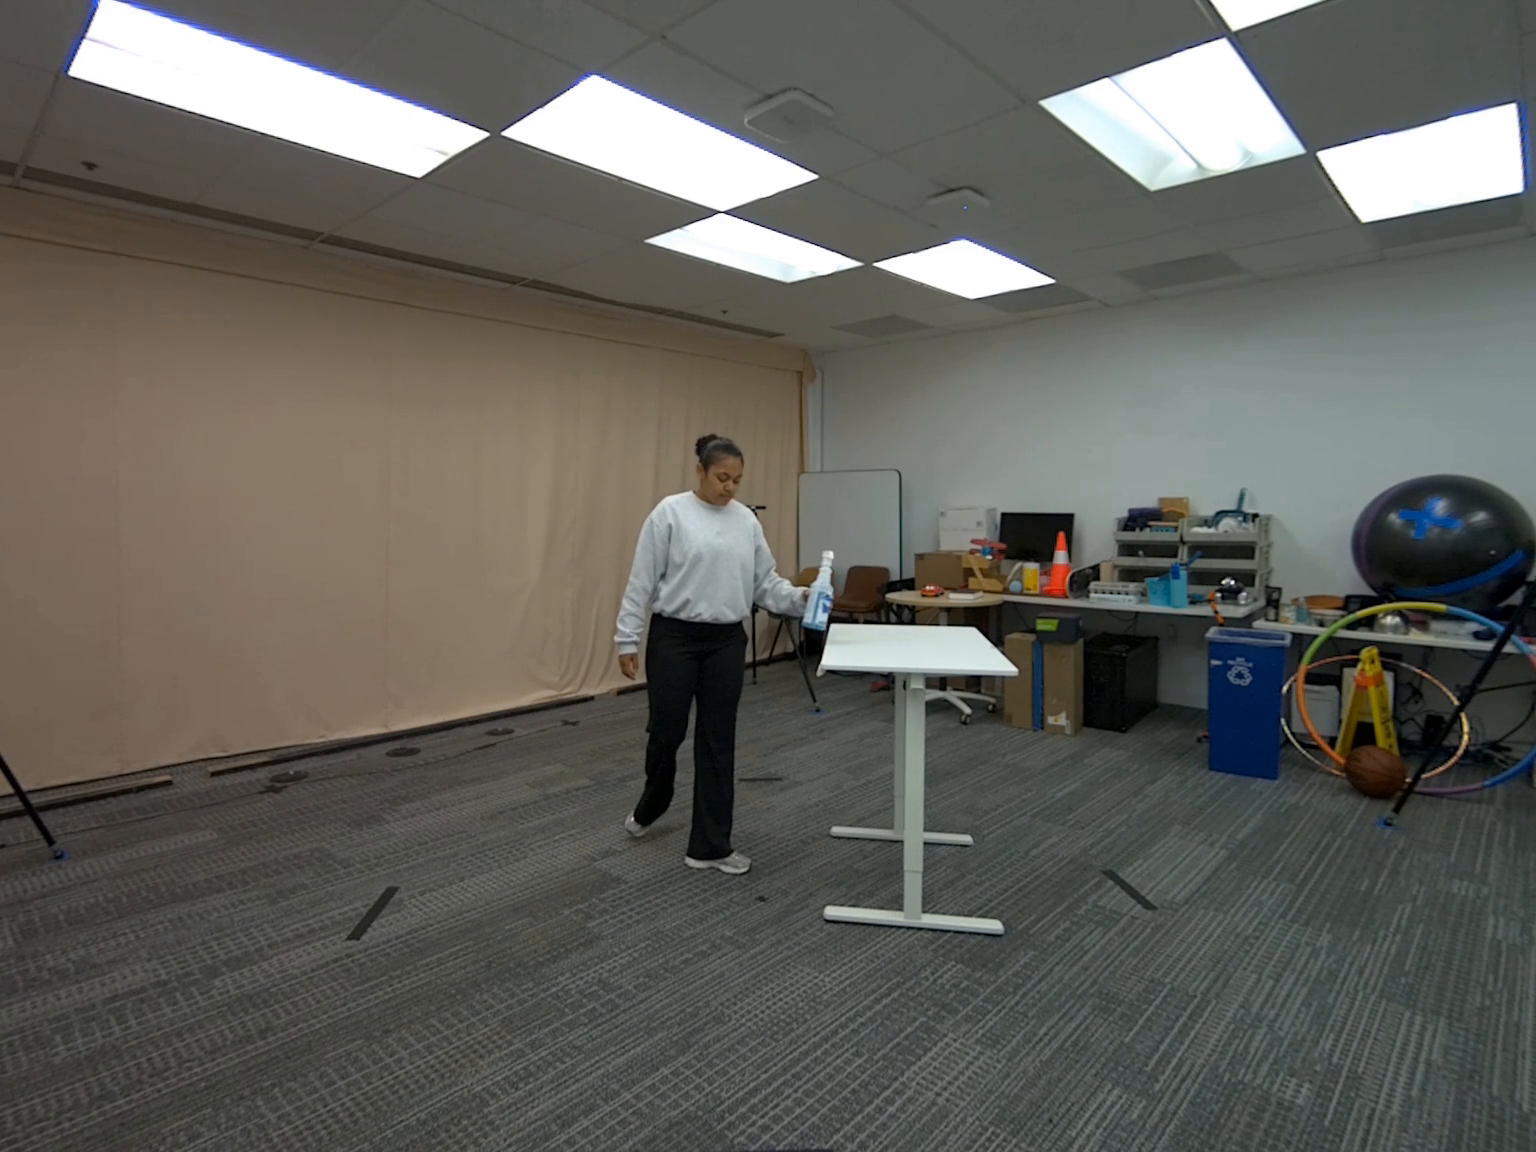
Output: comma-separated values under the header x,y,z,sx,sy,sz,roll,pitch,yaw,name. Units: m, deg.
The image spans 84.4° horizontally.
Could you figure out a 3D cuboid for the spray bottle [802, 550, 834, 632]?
x,y,z,sx,sy,sz,roll,pitch,yaw,name
0.195,0.061,3.138,0.088,0.298,0.088,12,-8,11,spray bottle
